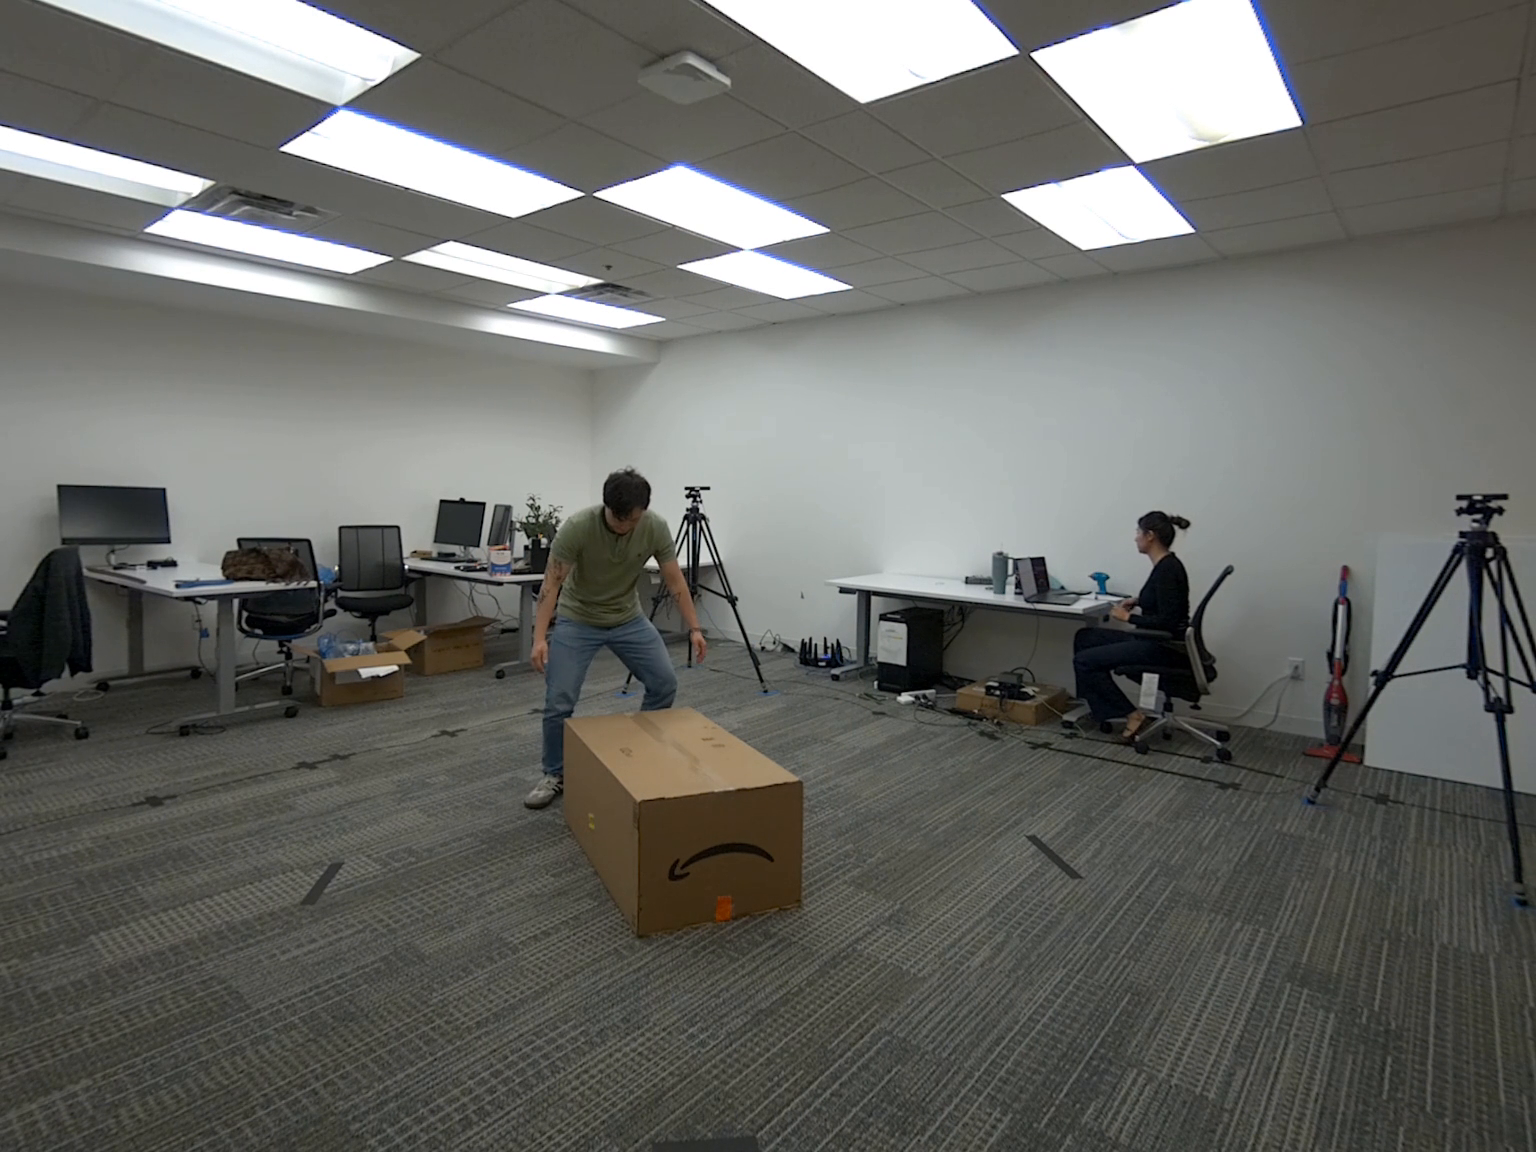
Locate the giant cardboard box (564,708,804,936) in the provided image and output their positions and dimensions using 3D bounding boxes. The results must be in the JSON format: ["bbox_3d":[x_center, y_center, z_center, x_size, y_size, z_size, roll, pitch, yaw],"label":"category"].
[{"bbox_3d":[-0.378,0.840,3.176,0.564,0.424,1.054,-1,6,-25],"label":"giant cardboard box"}]
